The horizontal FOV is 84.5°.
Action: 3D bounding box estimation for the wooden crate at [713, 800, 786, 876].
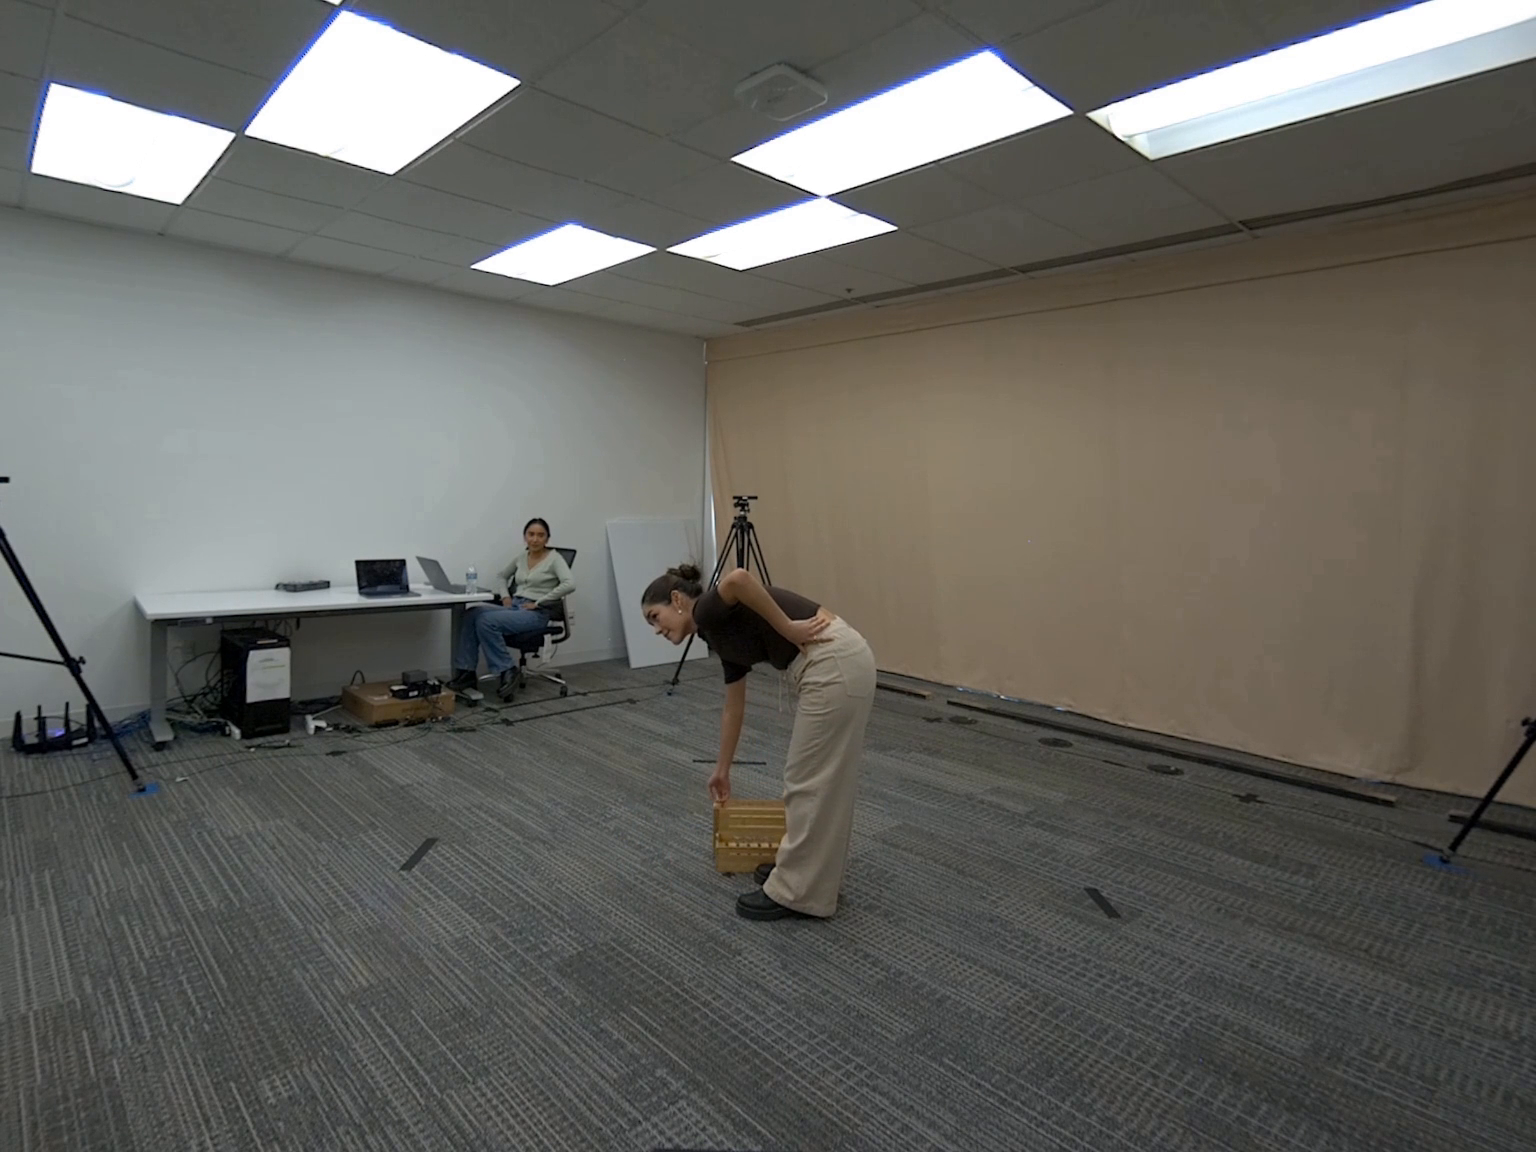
[{"bbox_3d":[-0.059,0.962,3.228,0.323,0.272,0.304,1,5,-4],"label":"wooden crate"}]
